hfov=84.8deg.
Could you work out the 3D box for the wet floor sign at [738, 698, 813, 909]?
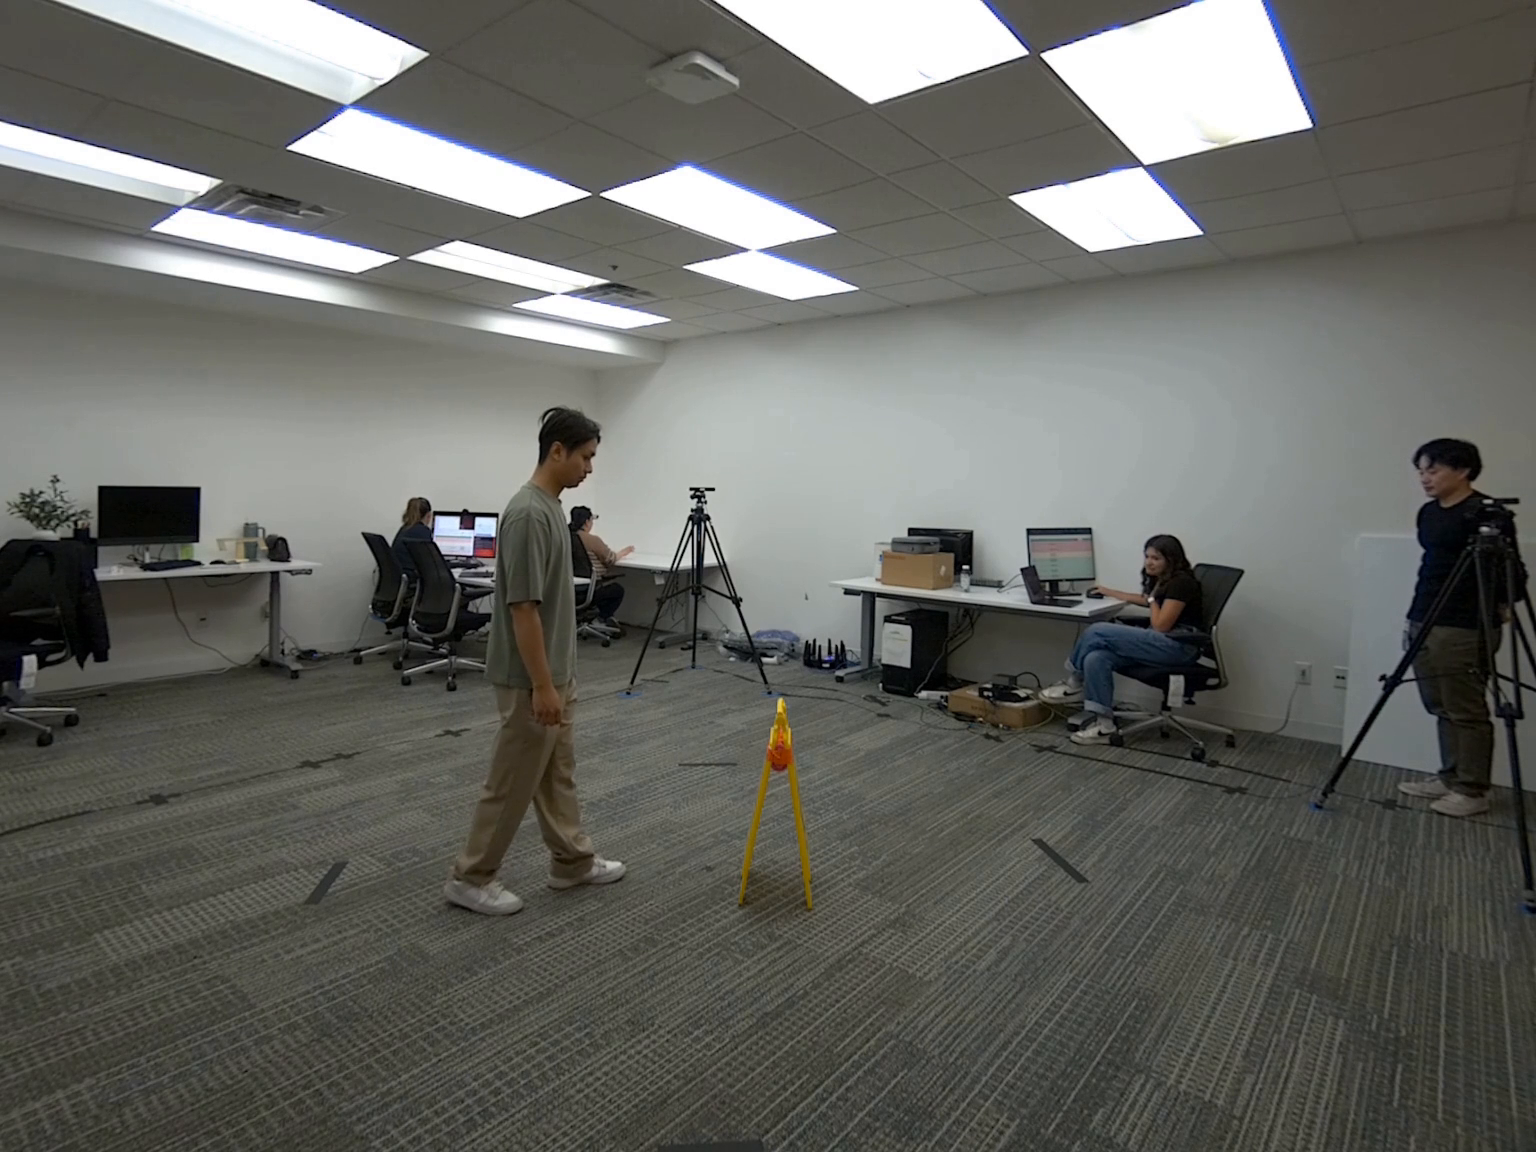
[{"bbox_3d":[0.029,0.767,2.949,0.291,0.644,0.282,3,4,2],"label":"wet floor sign"}]
